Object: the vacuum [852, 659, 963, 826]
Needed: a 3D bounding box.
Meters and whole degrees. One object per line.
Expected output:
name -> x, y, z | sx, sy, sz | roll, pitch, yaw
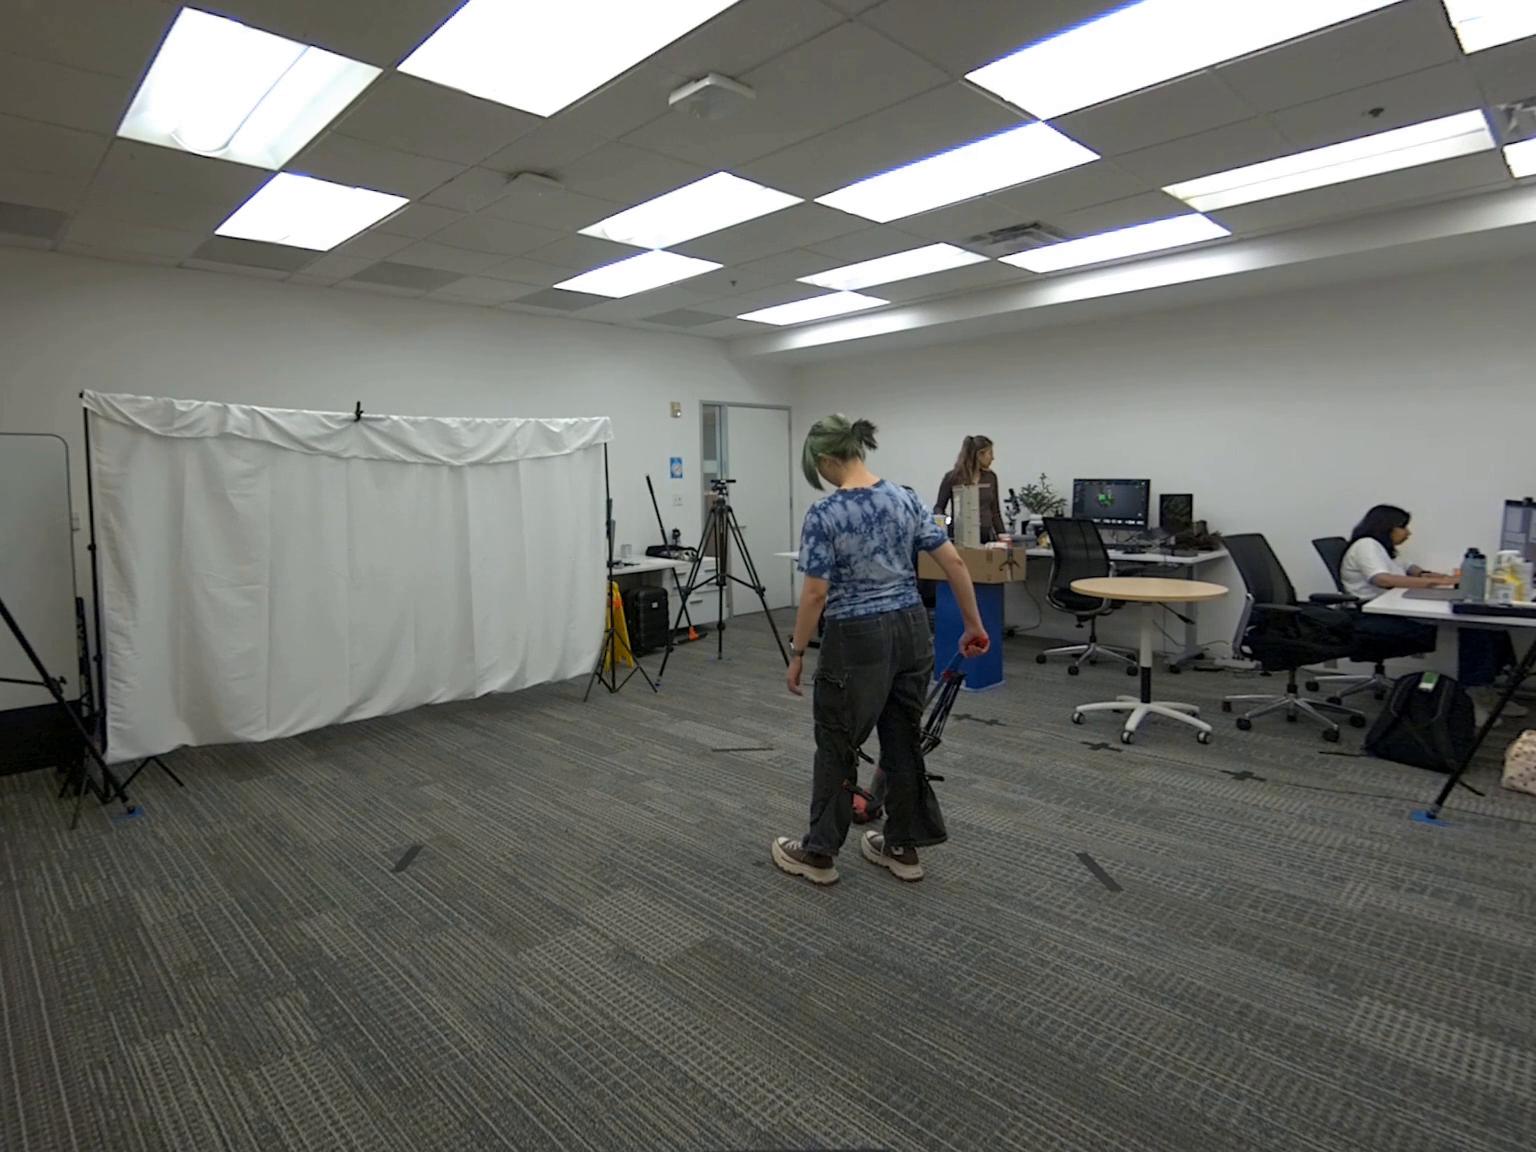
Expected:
vacuum -> 0.574, 0.607, 3.221 | 0.246, 0.149, 1.038 | -5, -40, -35
